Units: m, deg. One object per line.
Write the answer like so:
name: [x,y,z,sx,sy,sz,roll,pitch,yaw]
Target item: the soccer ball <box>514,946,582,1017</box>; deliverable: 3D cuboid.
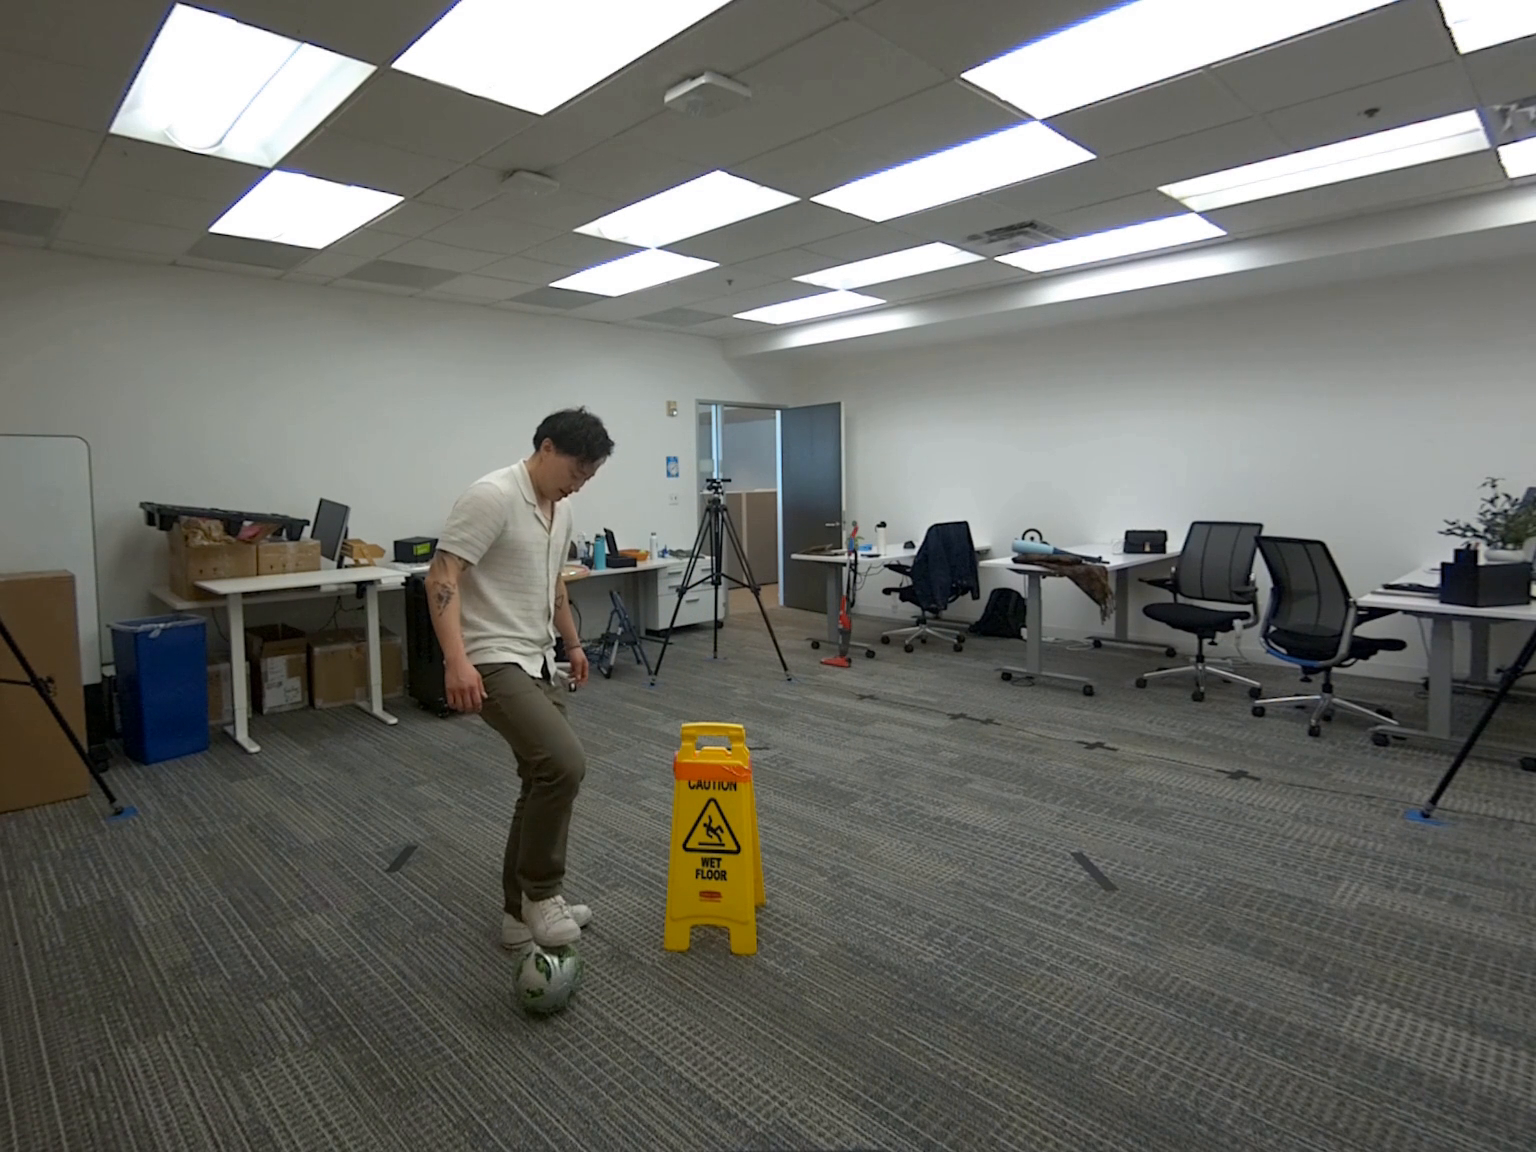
soccer ball: [-0.588,1.067,2.289,0.187,0.187,0.188,-1,5,-2]
